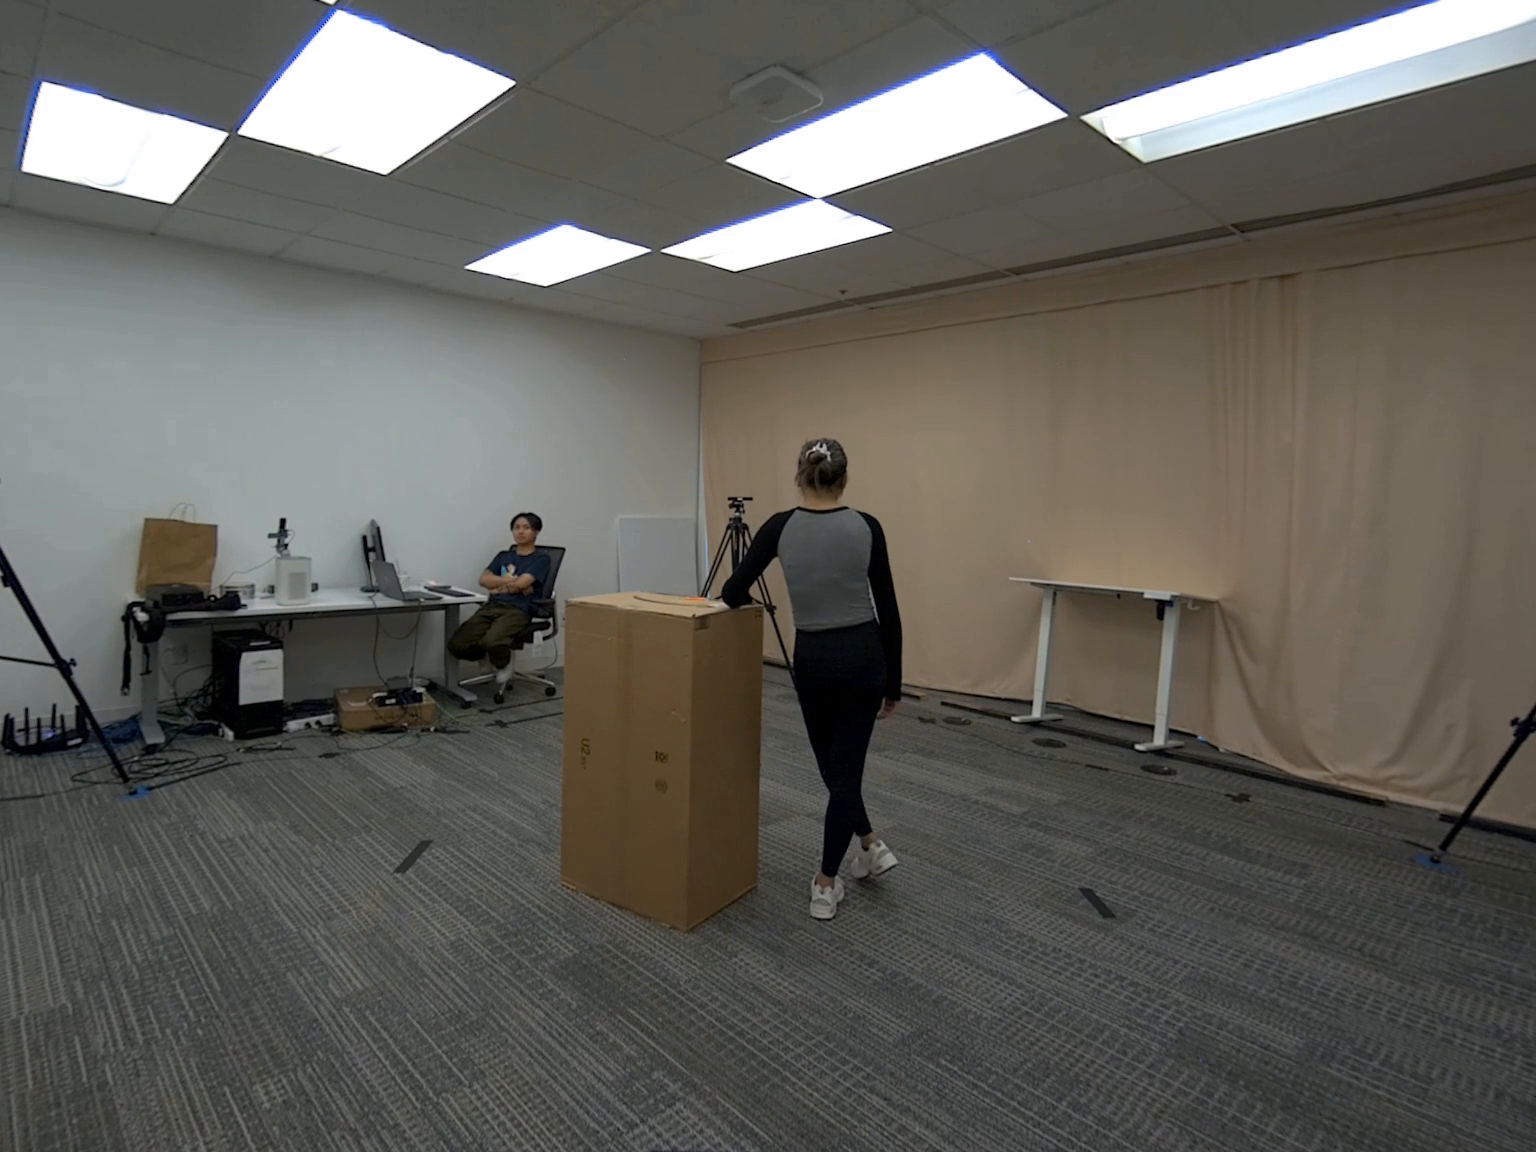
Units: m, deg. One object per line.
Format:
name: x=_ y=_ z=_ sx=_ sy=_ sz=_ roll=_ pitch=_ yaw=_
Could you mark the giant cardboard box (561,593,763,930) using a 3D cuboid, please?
giant cardboard box: x=-0.384 y=0.602 z=2.999 sx=0.591 sy=1.023 sz=0.417 roll=4 pitch=4 yaw=34
